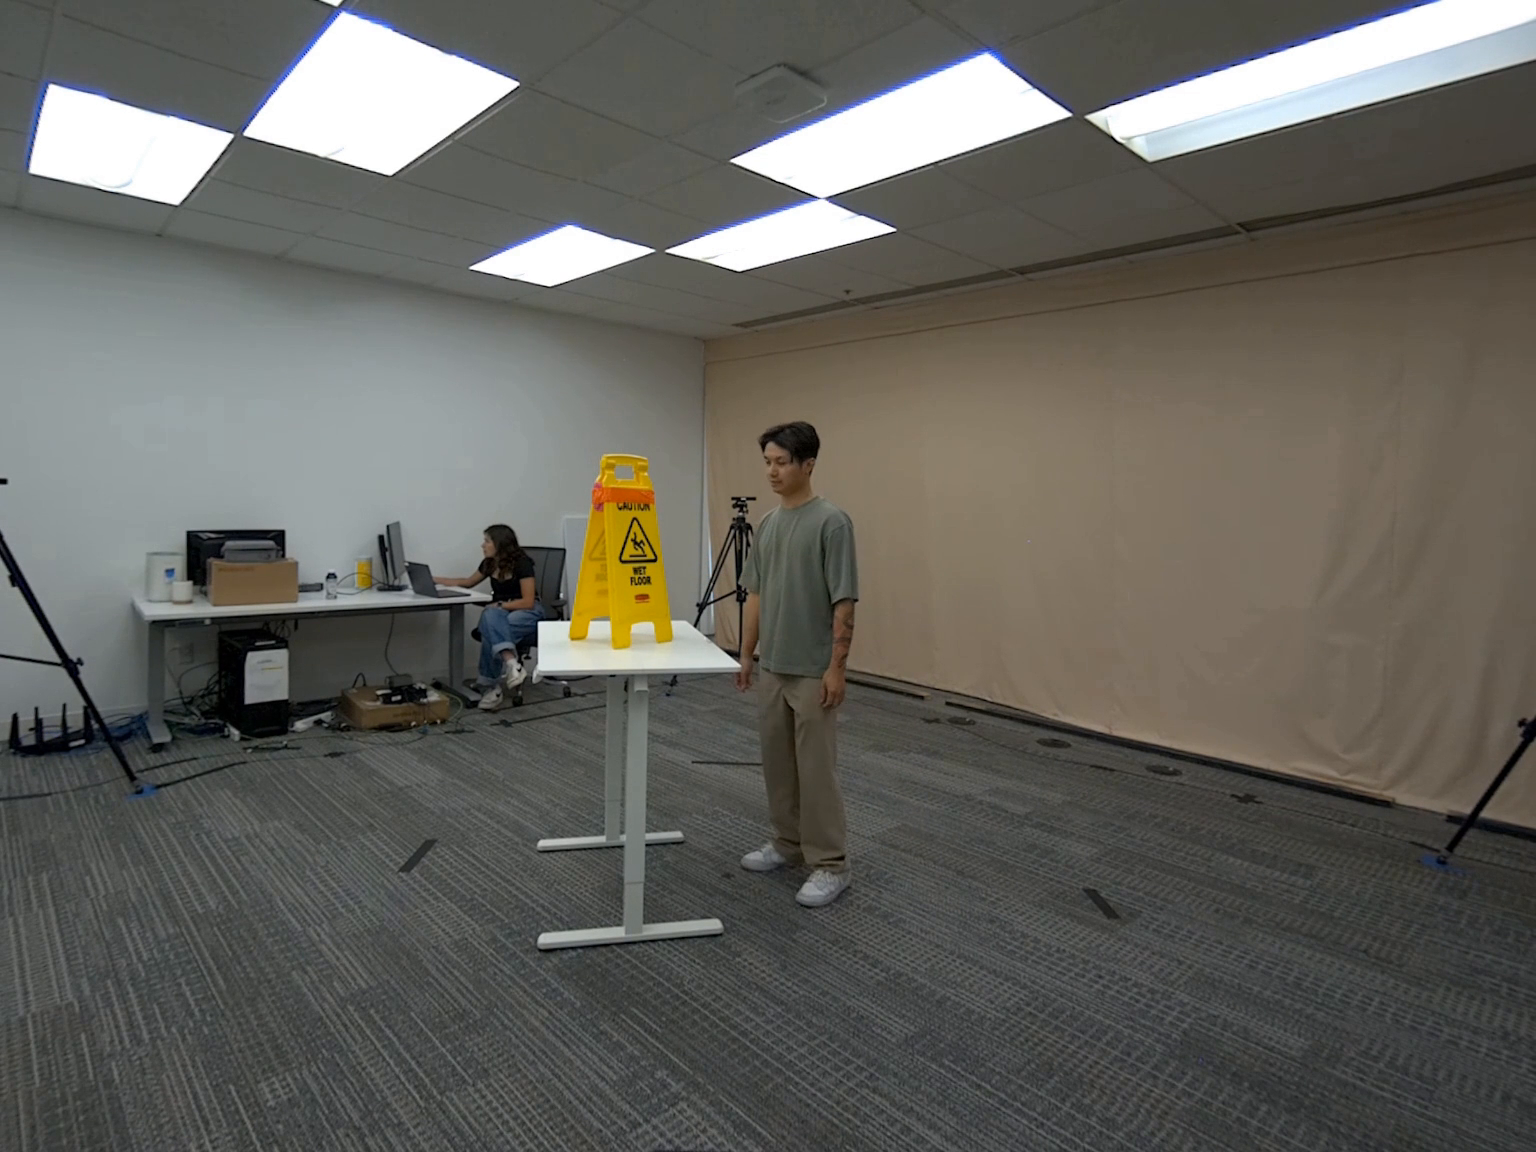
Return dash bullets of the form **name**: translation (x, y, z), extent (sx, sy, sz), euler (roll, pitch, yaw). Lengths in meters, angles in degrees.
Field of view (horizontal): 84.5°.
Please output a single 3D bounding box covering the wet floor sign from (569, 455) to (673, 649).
- **wet floor sign**: translation (-0.521, -0.095, 2.951), extent (0.297, 0.645, 0.276), euler (4, 3, 38)
